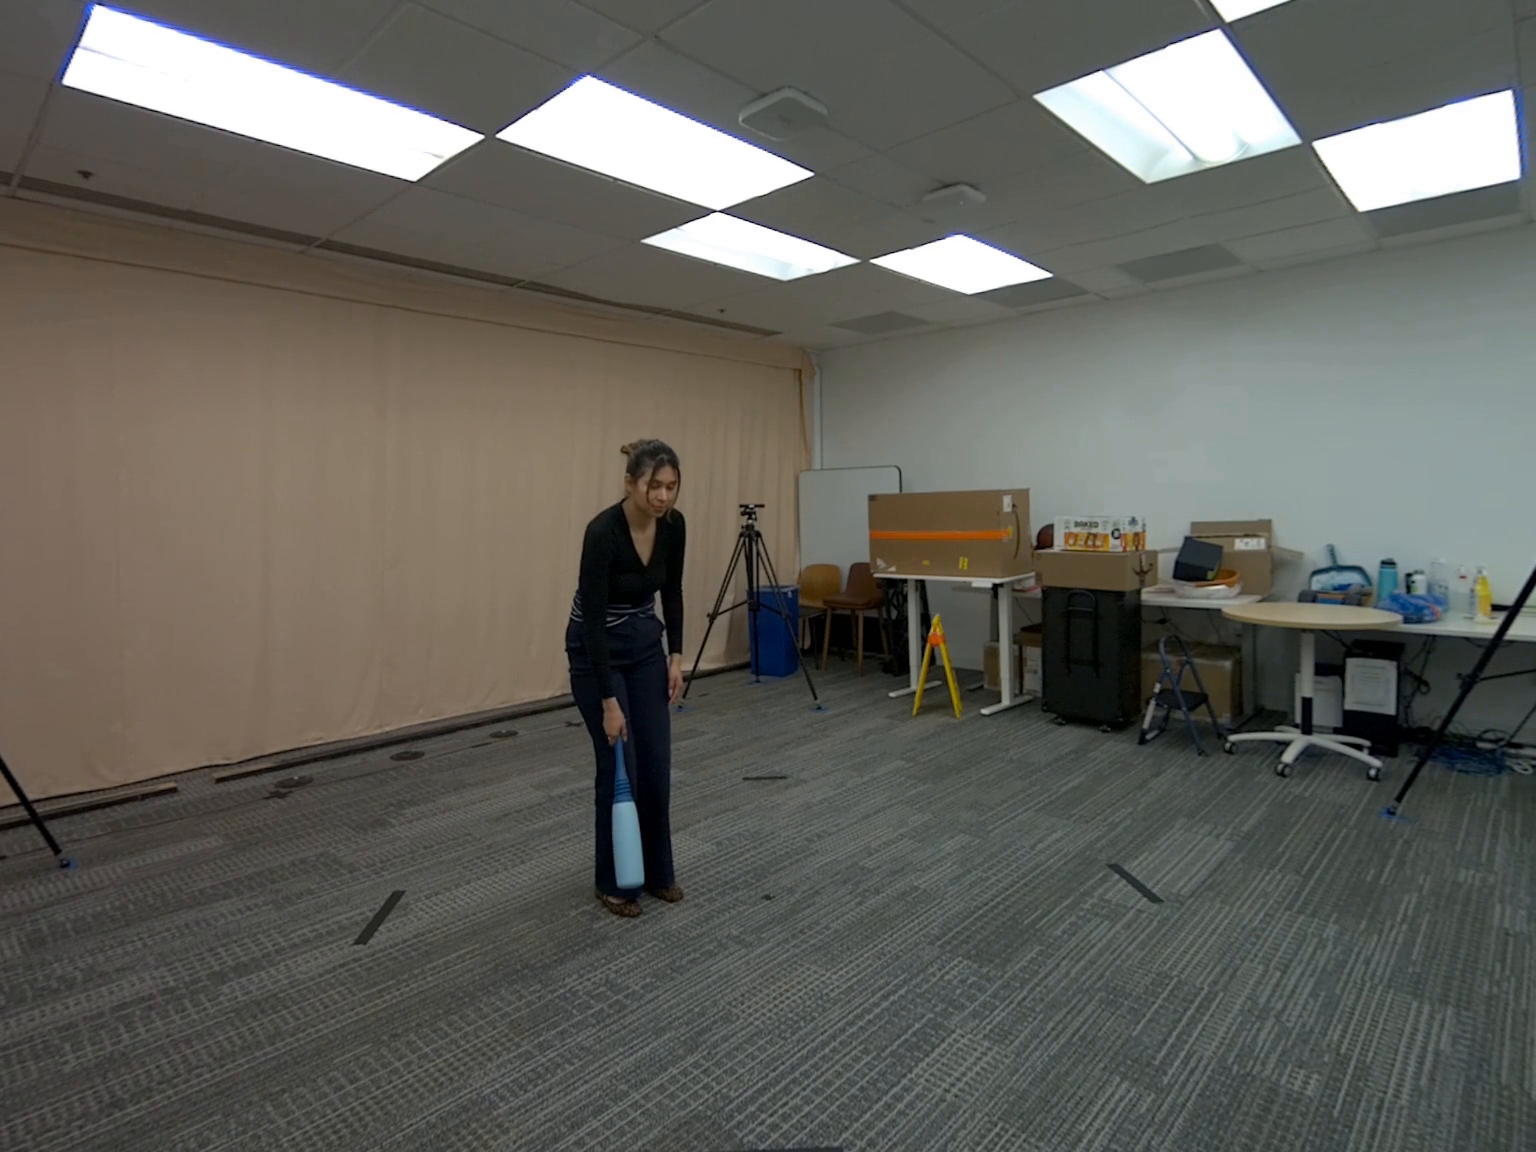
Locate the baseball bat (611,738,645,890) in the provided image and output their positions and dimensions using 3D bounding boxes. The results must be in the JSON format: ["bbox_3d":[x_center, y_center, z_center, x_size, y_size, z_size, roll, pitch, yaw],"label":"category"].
[{"bbox_3d":[-0.452,0.707,2.693,0.089,0.552,0.088,-8,-21,-5],"label":"baseball bat"}]
